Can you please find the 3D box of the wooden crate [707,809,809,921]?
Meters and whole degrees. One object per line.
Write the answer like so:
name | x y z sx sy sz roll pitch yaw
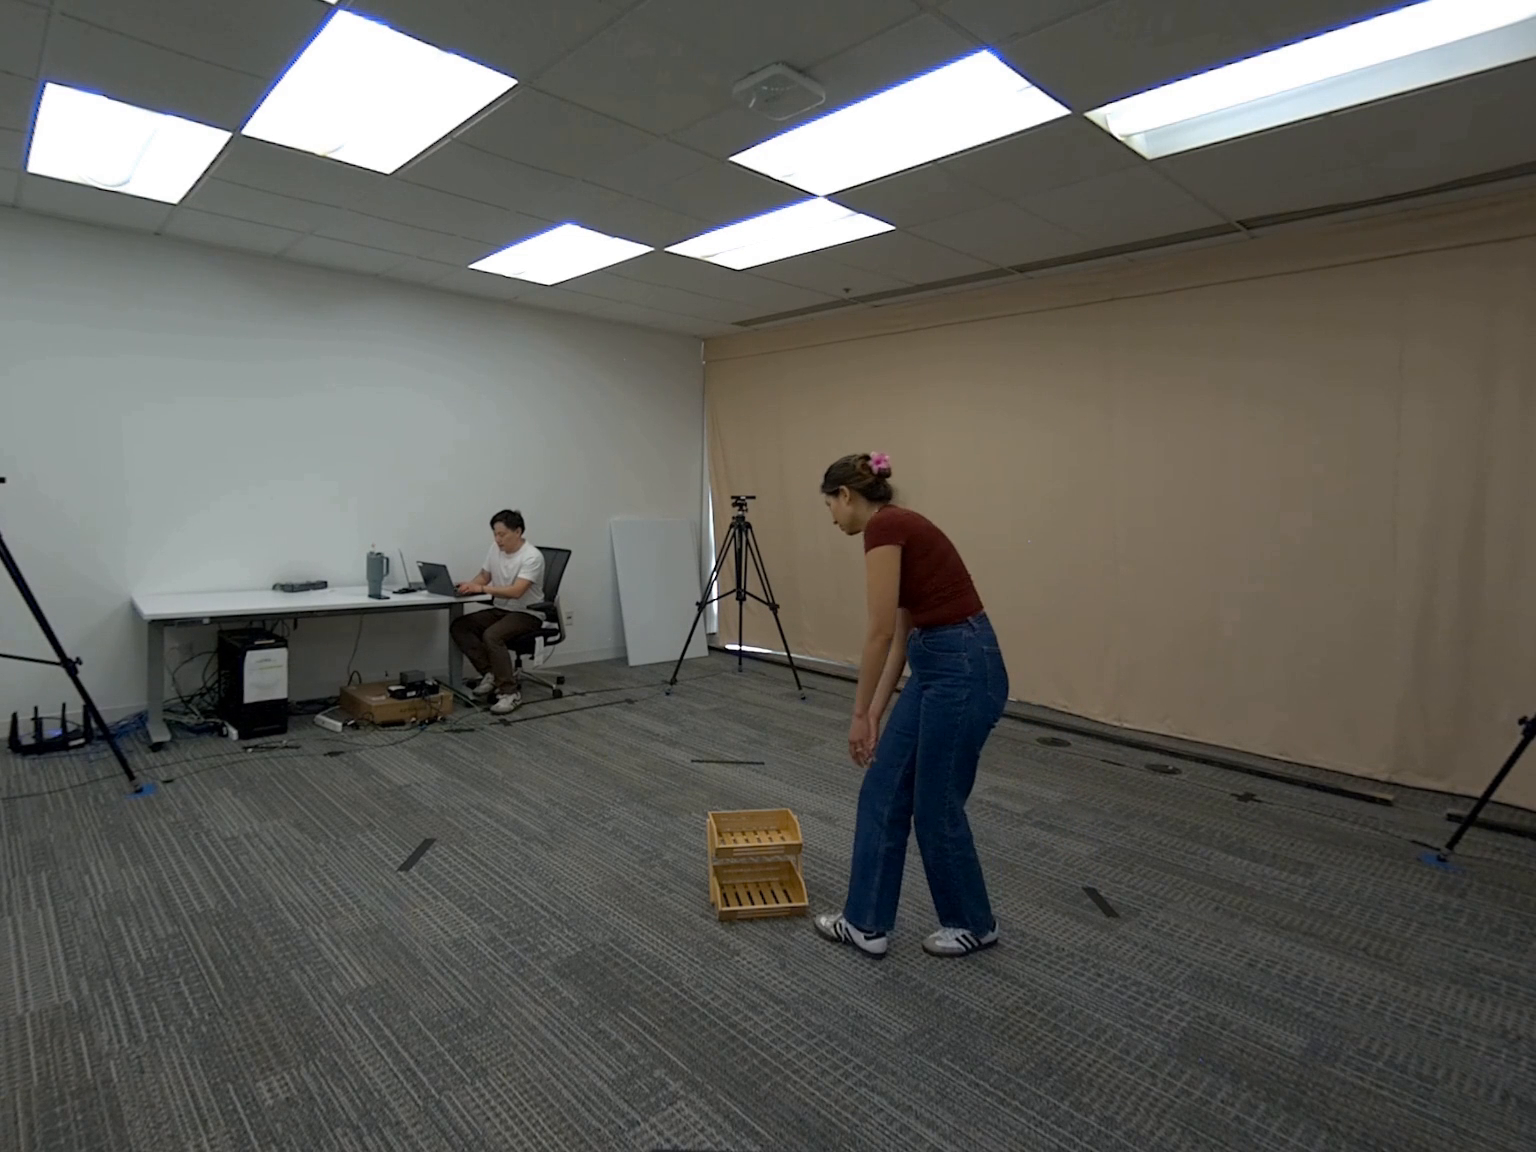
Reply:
wooden crate | -0.047 0.988 2.903 0.321 0.272 0.305 0 4 -11
